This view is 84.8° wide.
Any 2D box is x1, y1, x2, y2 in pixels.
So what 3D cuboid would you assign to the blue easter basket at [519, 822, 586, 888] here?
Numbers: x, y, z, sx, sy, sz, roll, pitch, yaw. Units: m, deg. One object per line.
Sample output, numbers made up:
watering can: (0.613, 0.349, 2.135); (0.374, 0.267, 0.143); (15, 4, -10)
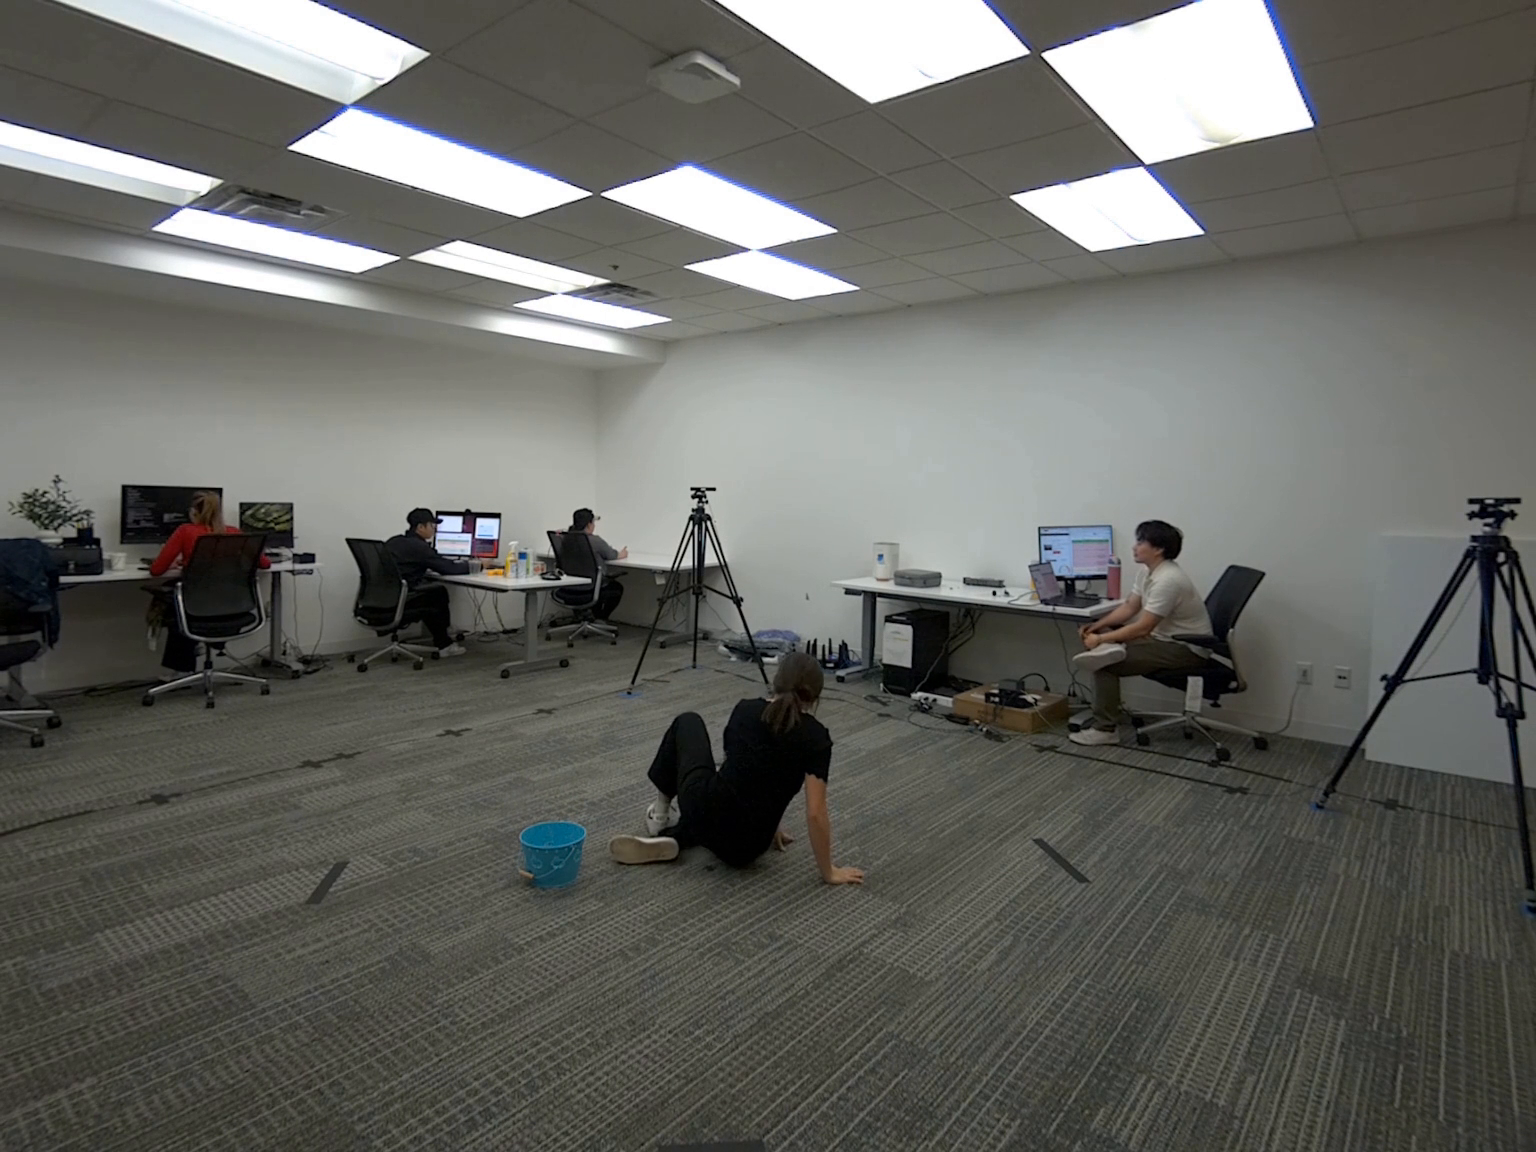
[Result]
blue easter basket: (-0.782, 0.986, 3.024); (0.243, 0.155, 0.245); (1, 4, -2)
